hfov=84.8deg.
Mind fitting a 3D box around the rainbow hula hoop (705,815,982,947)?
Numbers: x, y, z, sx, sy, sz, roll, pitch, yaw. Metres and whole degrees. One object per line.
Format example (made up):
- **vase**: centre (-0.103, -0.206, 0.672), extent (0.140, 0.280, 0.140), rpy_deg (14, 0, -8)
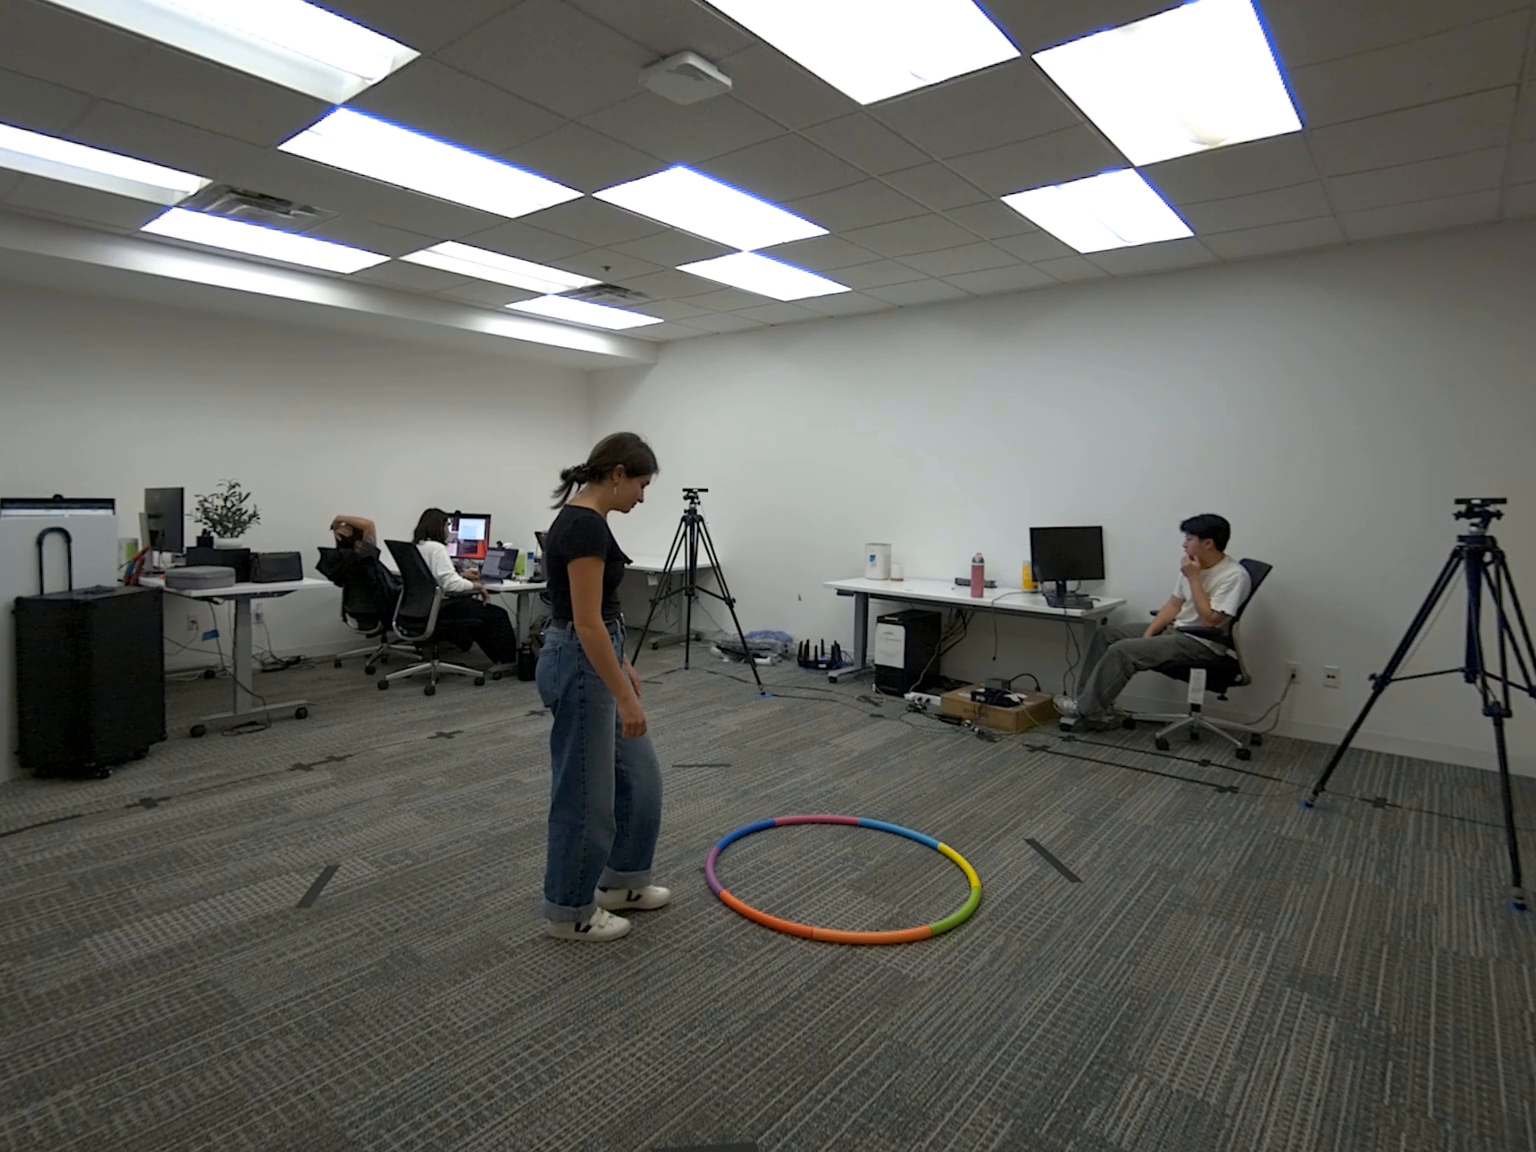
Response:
- **rainbow hula hoop**: centre (0.260, 1.046, 3.095), extent (0.978, 0.035, 0.984), rpy_deg (1, 6, -2)
